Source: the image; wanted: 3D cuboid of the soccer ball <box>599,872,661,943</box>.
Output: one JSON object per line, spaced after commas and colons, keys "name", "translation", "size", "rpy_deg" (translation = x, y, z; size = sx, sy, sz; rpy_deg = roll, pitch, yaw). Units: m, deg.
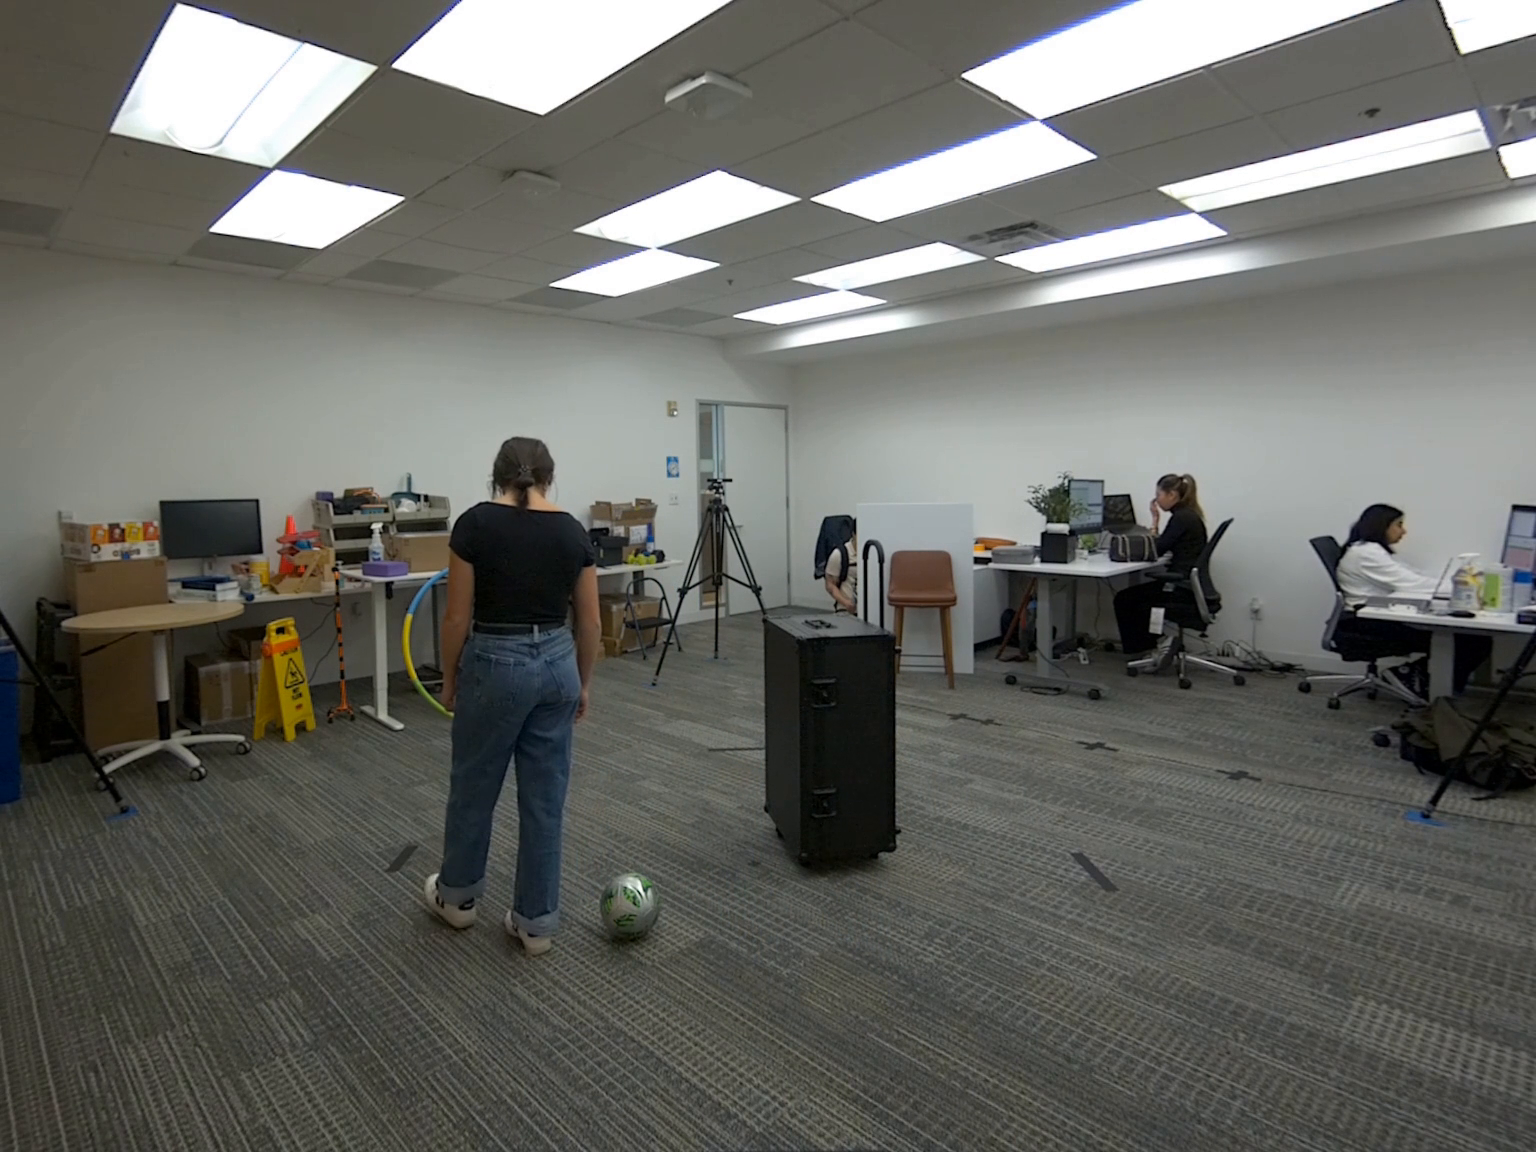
{"name": "soccer ball", "translation": [-0.417, 1.013, 2.631], "size": [0.187, 0.187, 0.188], "rpy_deg": [-1, 5, -2]}
